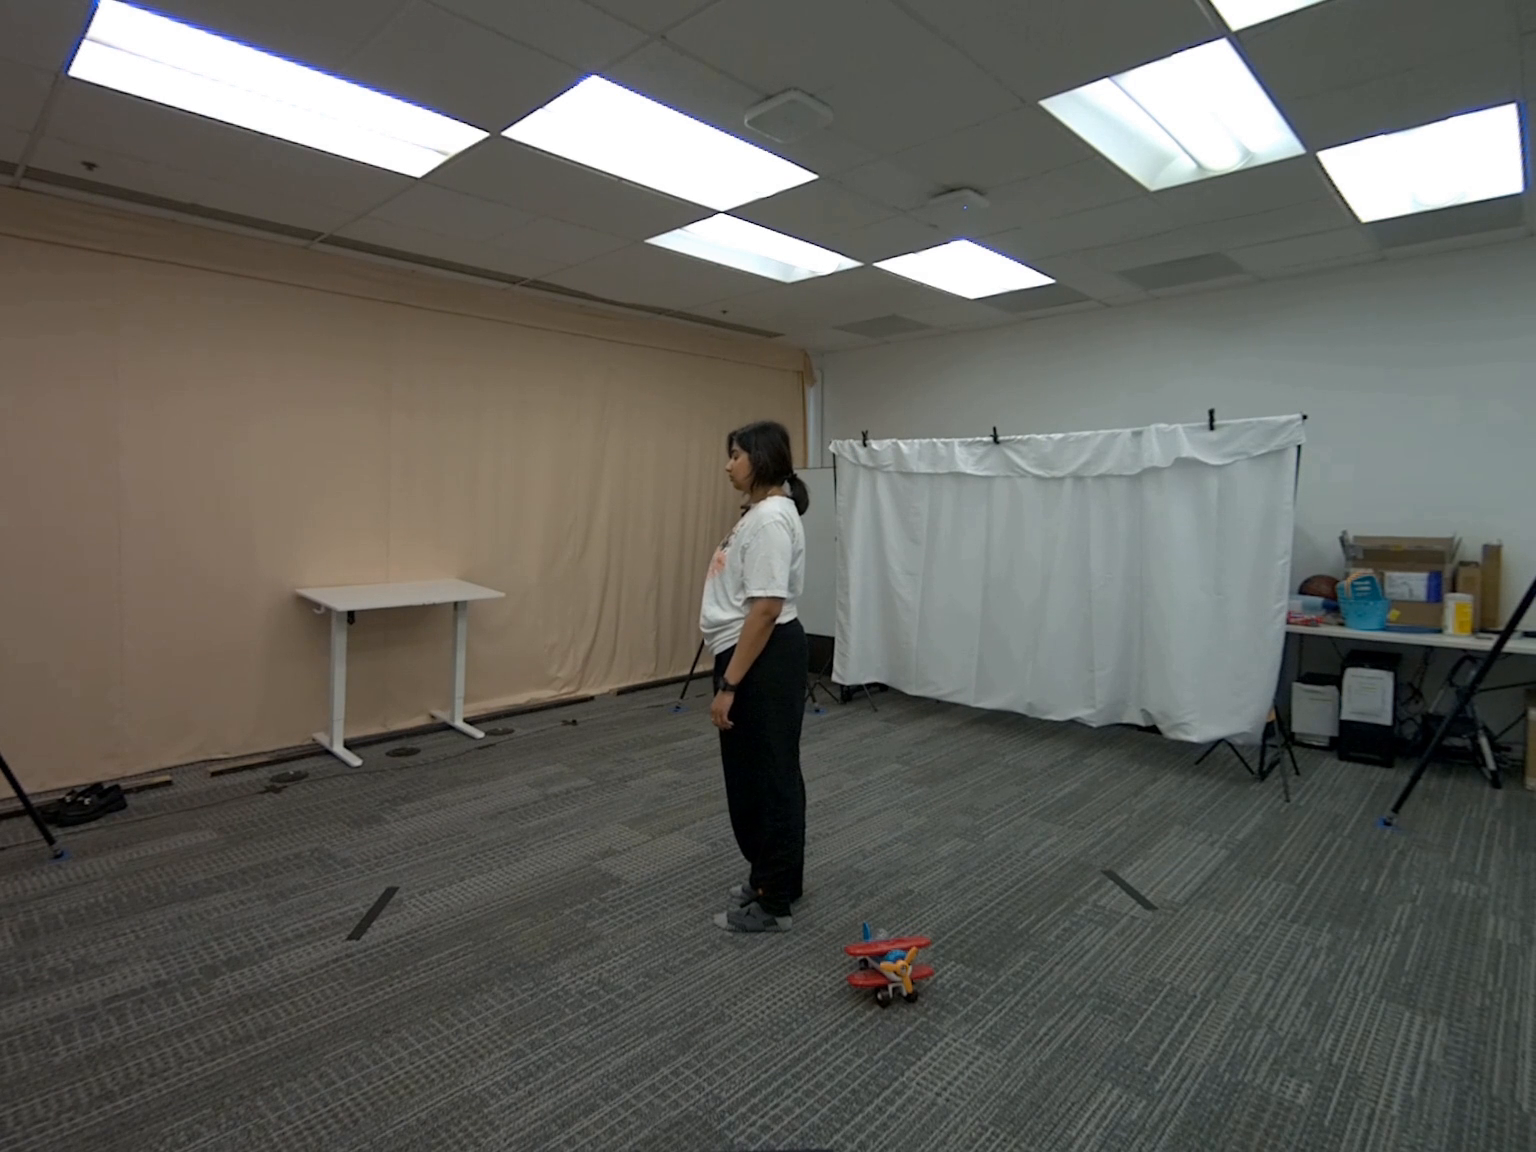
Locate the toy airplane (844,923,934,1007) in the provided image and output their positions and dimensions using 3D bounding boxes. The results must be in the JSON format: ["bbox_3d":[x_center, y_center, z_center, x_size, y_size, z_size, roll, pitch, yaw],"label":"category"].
[{"bbox_3d":[0.327,1.118,2.420,0.243,0.156,0.268,-5,6,-44],"label":"toy airplane"}]
